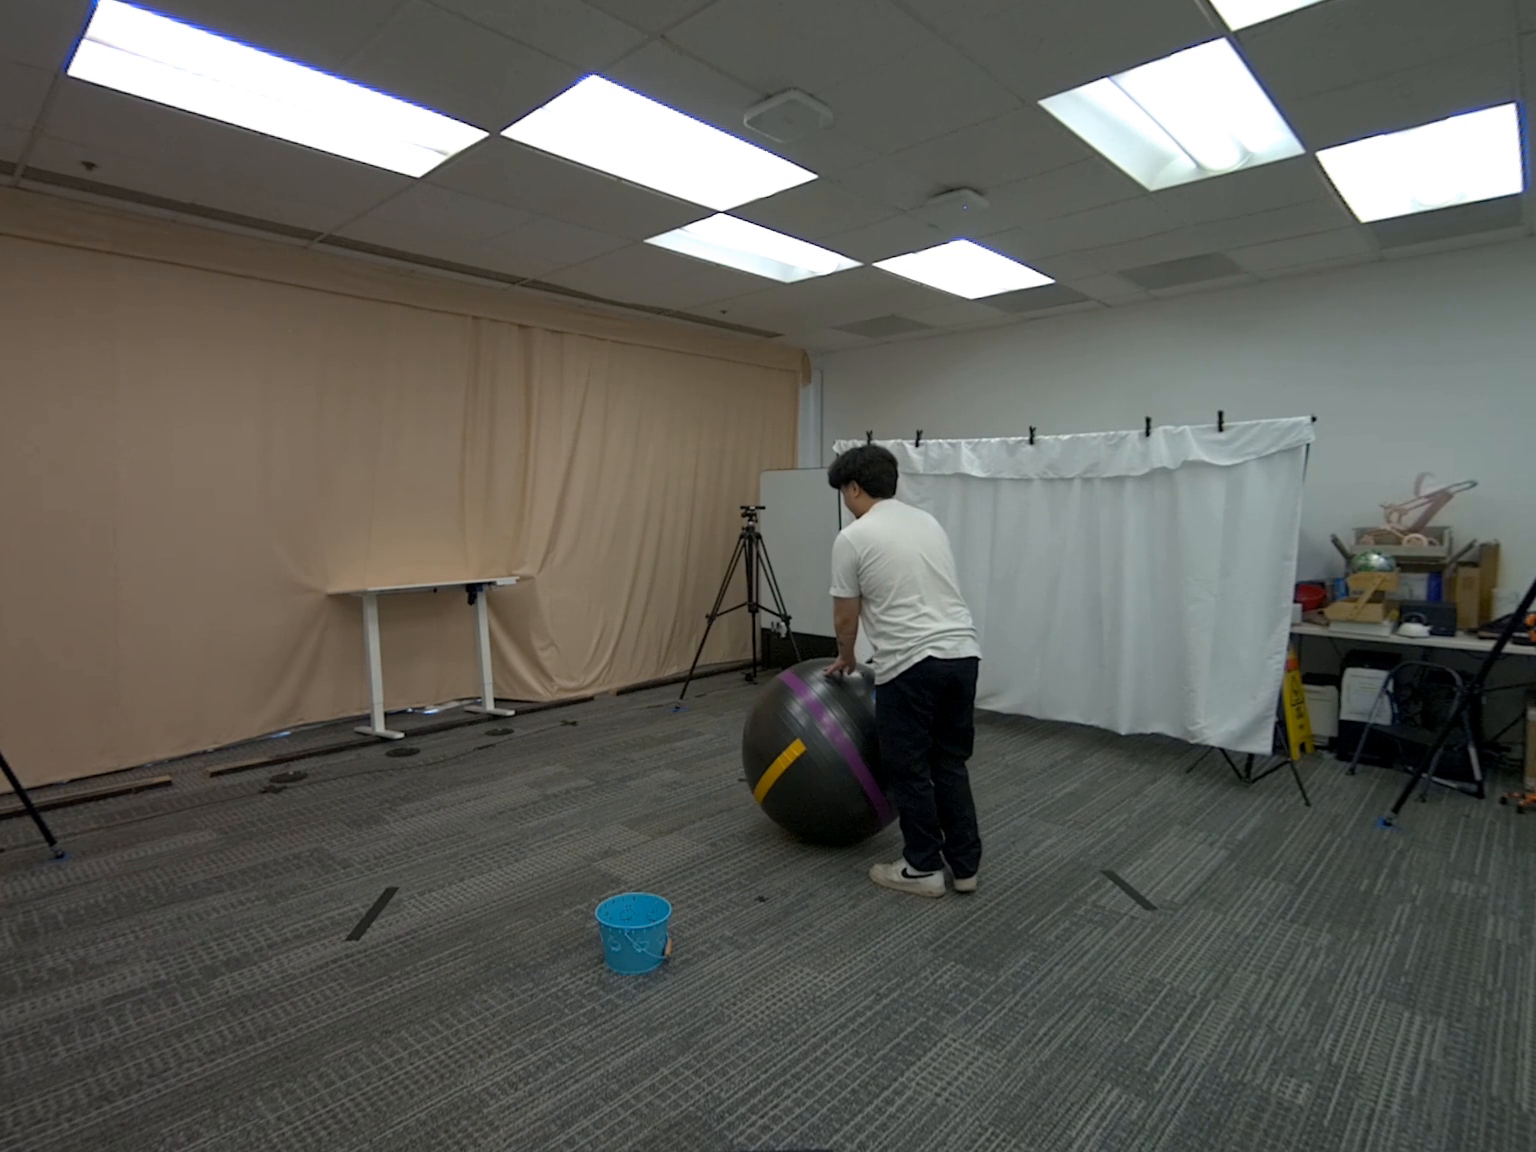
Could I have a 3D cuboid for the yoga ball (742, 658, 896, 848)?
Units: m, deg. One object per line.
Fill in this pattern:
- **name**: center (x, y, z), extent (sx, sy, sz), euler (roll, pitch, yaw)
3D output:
- **yoga ball**: center (0.268, 0.731, 3.547), extent (0.757, 0.756, 0.760), euler (0, 4, -2)
